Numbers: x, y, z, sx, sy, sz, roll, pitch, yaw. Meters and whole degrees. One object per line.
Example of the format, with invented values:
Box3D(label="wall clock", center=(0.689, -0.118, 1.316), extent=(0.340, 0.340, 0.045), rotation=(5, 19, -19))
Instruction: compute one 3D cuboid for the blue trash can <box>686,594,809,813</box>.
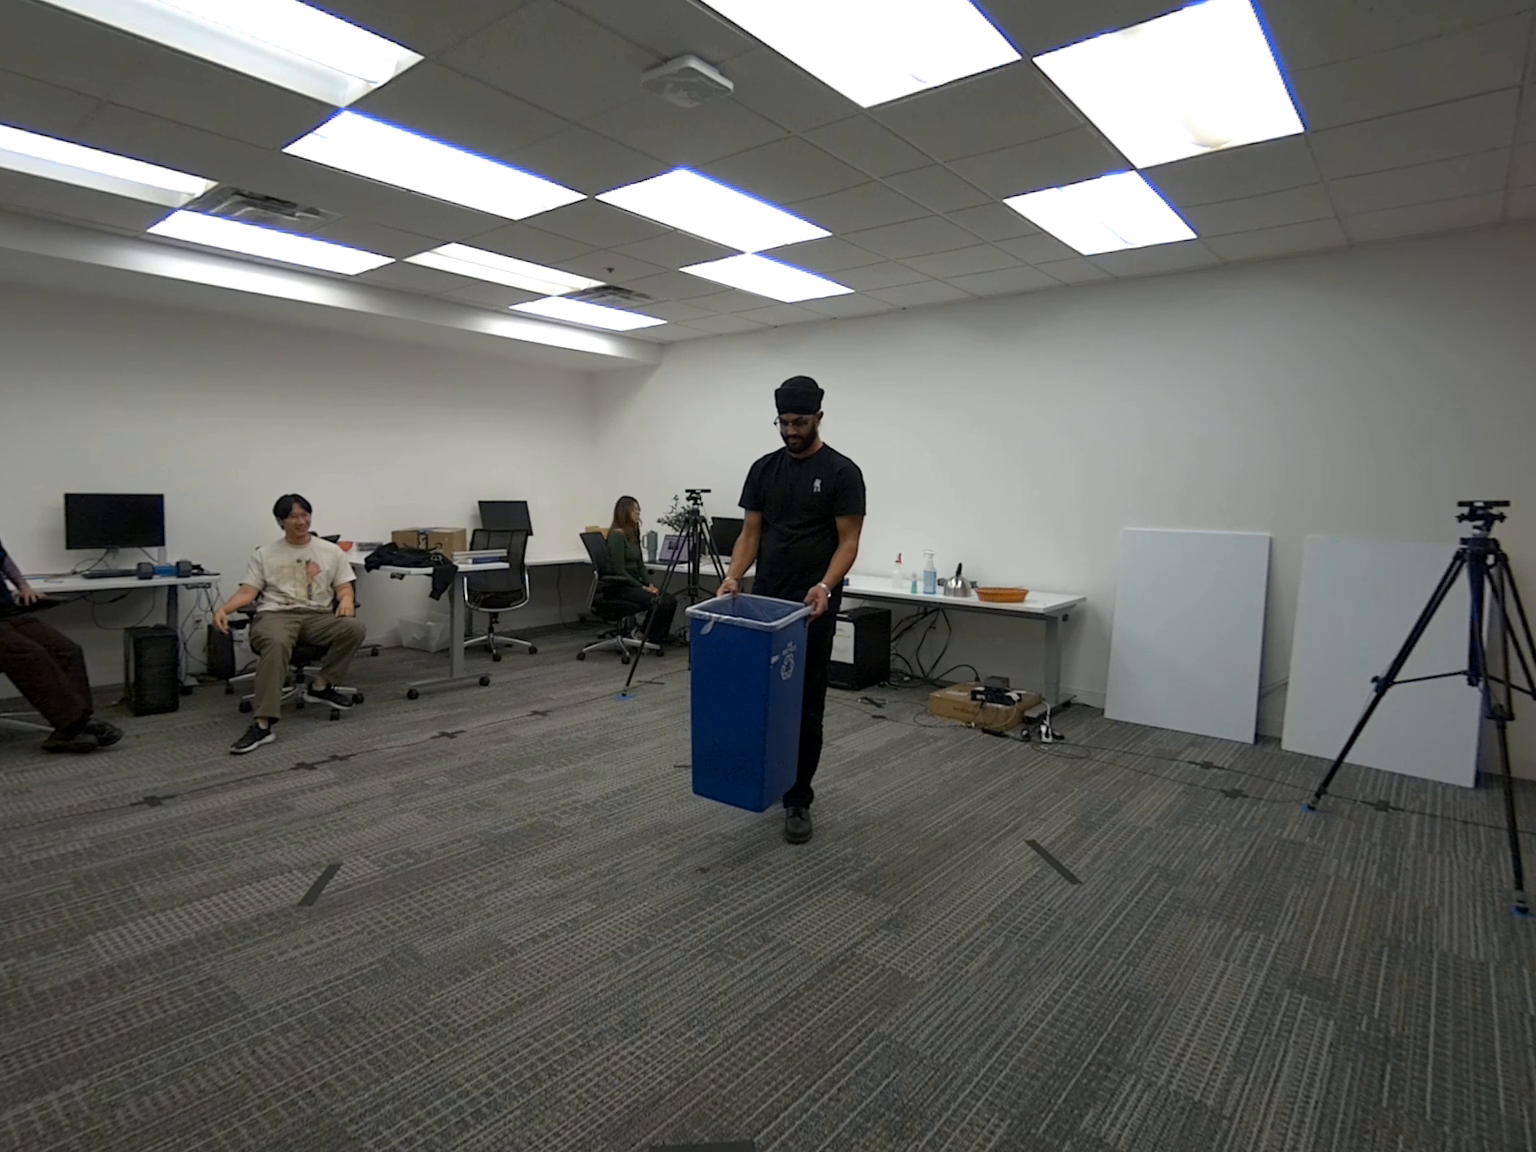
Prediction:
Box3D(label="blue trash can", center=(-0.091, 0.463, 3.210), extent=(0.389, 0.707, 0.366), rotation=(7, 11, 28))
